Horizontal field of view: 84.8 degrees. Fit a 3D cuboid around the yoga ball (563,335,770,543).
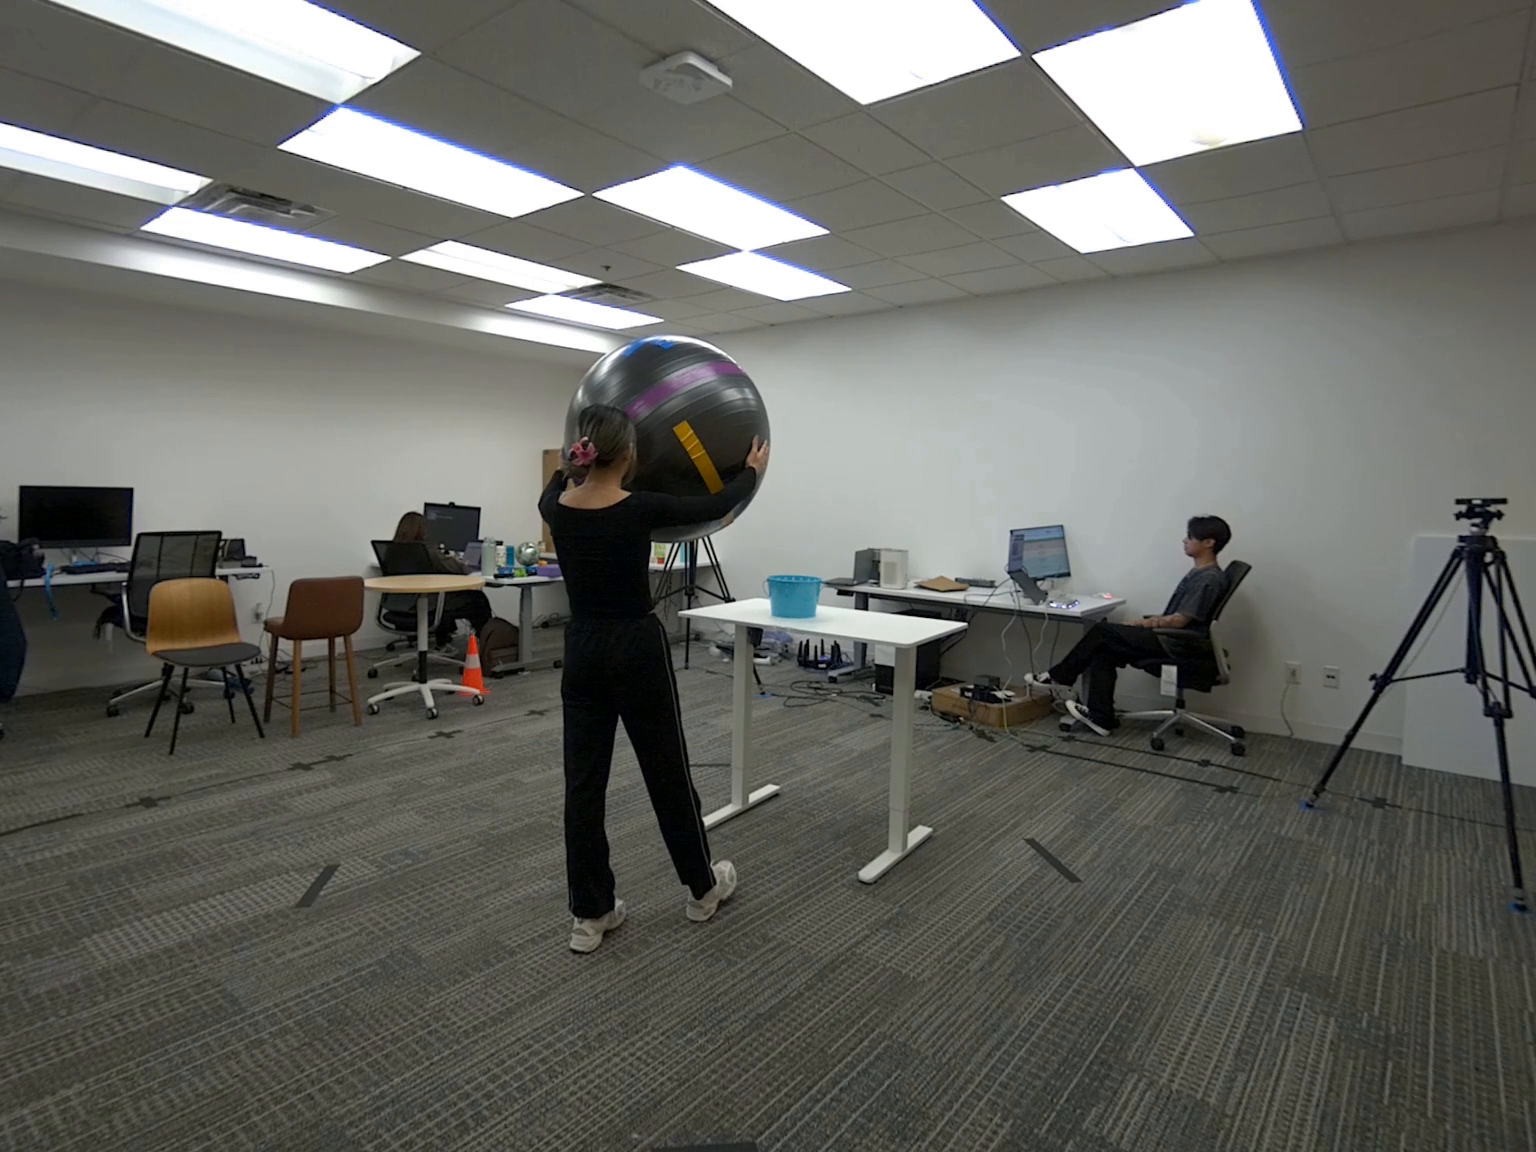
[{"bbox_3d":[-0.374,-0.491,3.123,0.757,0.756,0.761,1,4,-2],"label":"yoga ball"}]
